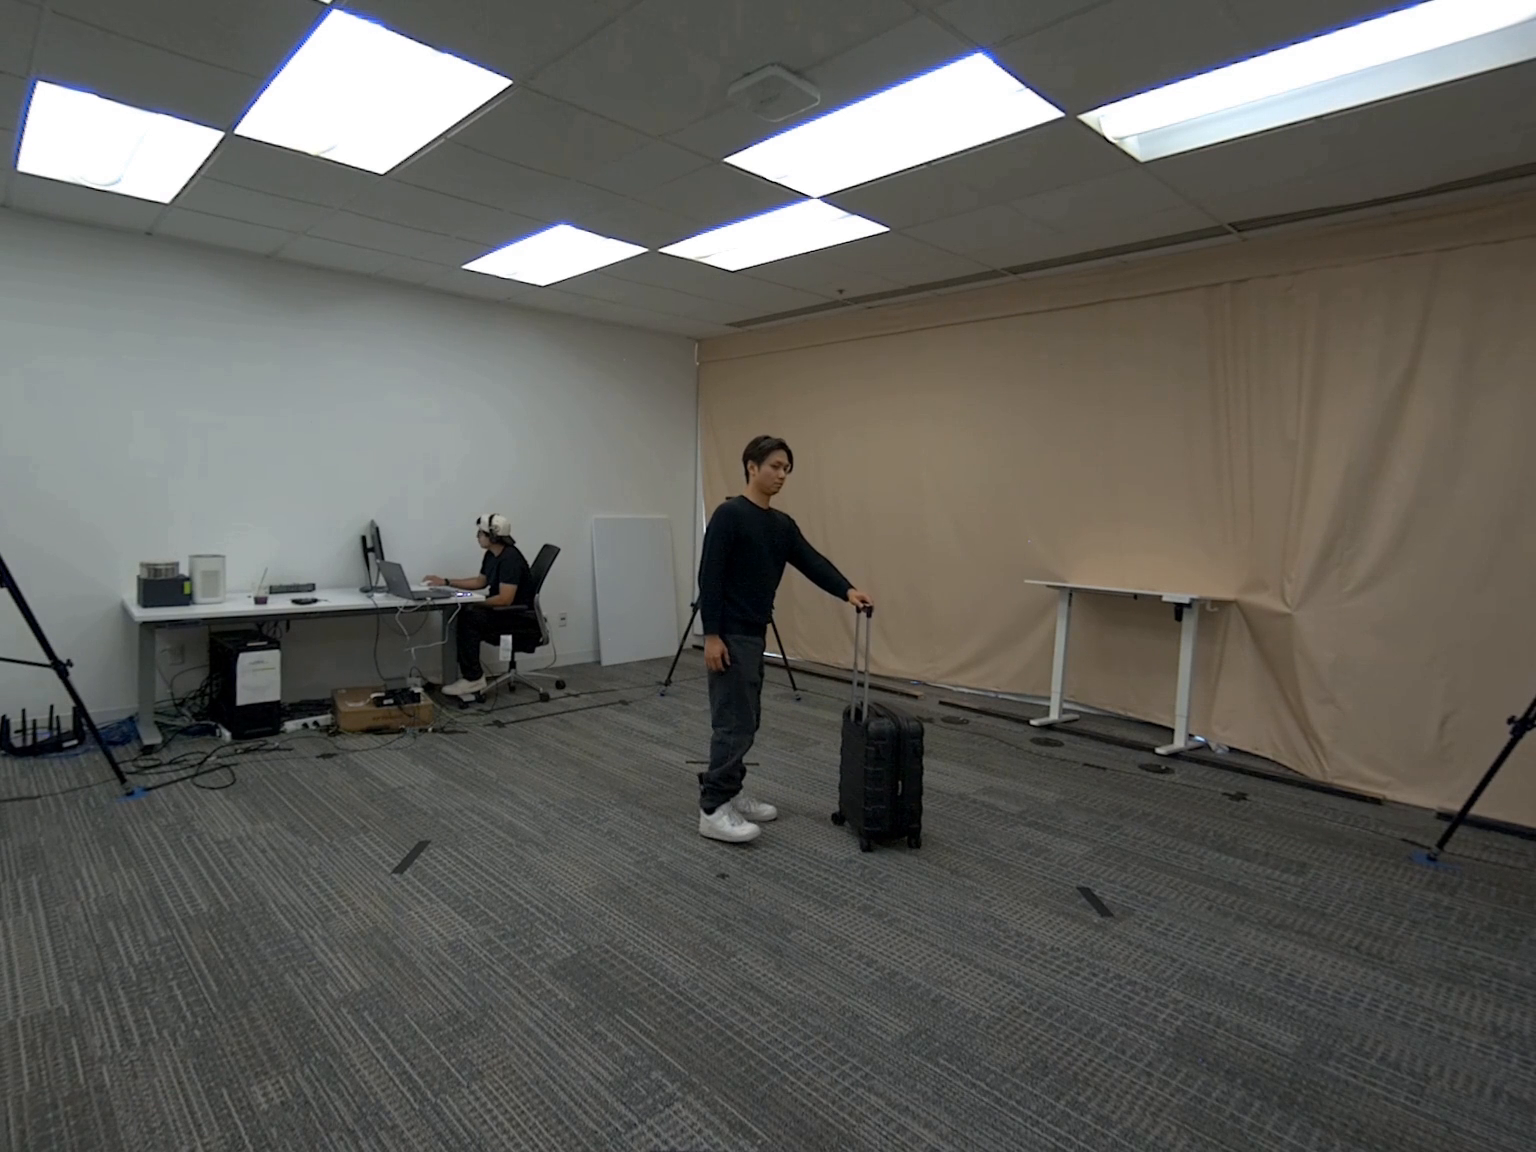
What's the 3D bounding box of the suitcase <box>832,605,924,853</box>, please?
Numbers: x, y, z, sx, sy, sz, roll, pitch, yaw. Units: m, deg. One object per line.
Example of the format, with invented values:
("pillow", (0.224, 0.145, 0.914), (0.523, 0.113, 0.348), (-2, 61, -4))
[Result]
("suitcase", (0.463, 0.608, 3.479), (0.254, 0.976, 0.389), (3, 4, -14))
